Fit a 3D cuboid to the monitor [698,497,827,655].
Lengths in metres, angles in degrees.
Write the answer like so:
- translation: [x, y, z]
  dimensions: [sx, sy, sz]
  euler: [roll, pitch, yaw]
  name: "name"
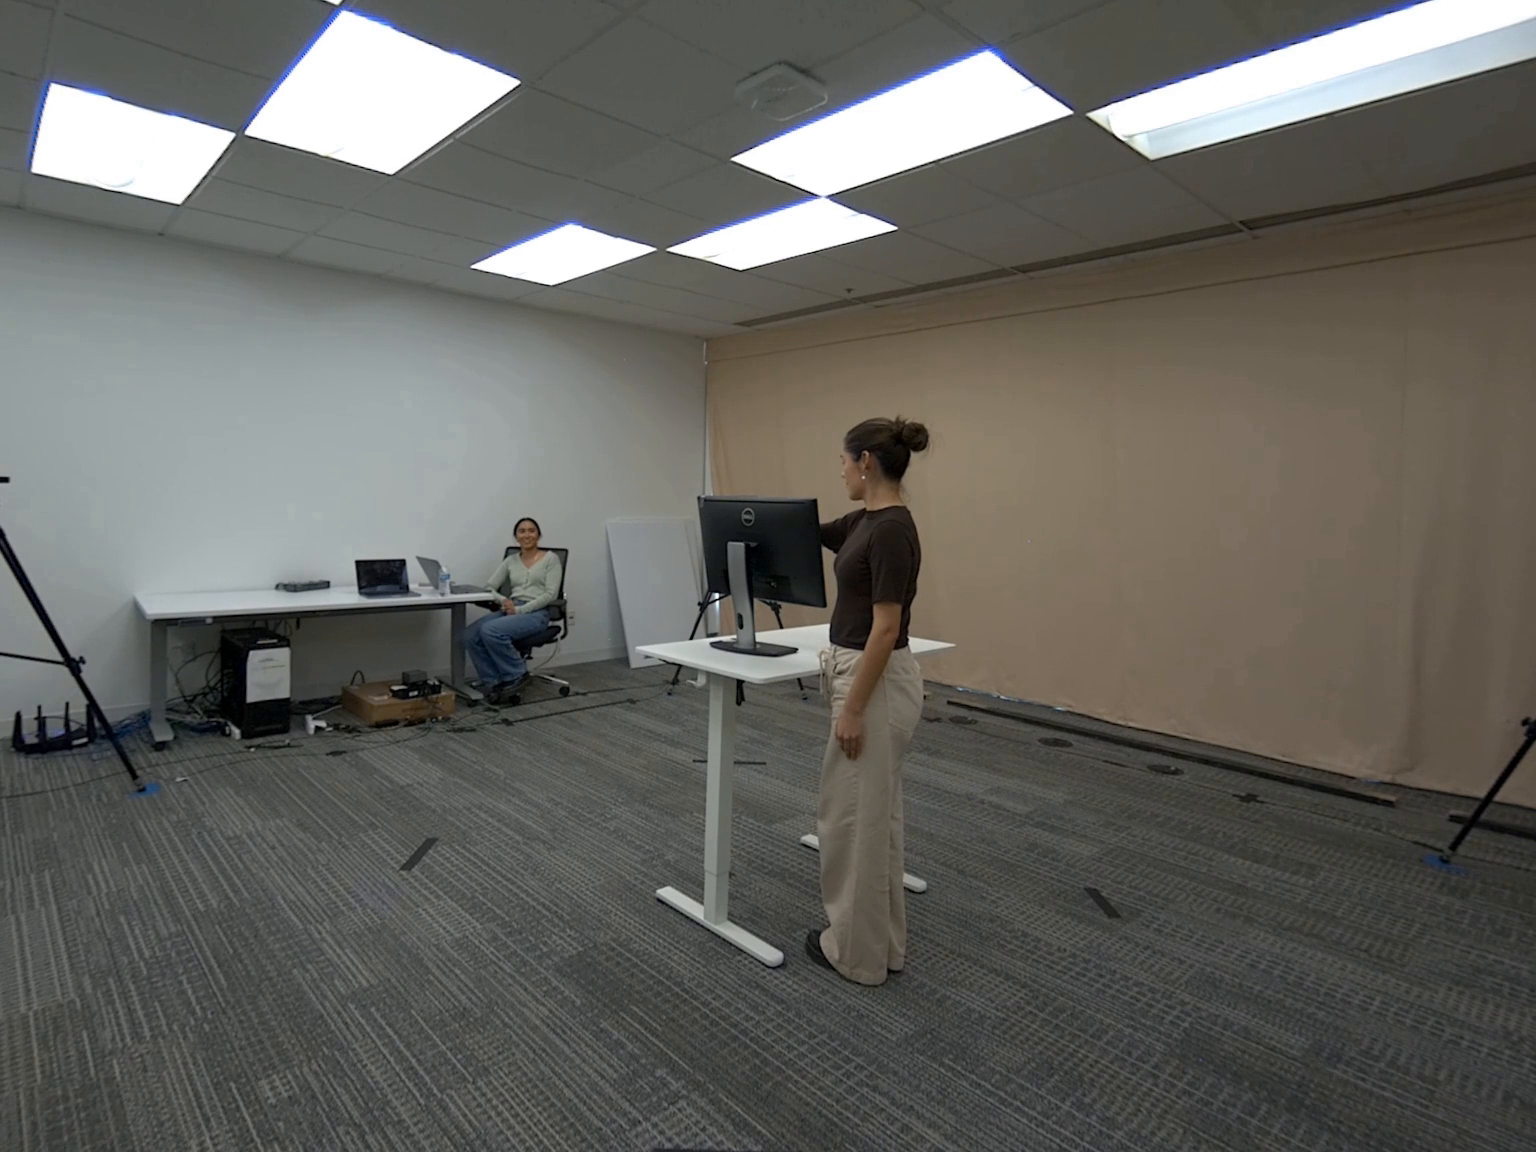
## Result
- translation: [-0.055, -0.001, 2.801]
  dimensions: [0.553, 0.521, 0.183]
  euler: [6, 4, 44]
  name: "monitor"
